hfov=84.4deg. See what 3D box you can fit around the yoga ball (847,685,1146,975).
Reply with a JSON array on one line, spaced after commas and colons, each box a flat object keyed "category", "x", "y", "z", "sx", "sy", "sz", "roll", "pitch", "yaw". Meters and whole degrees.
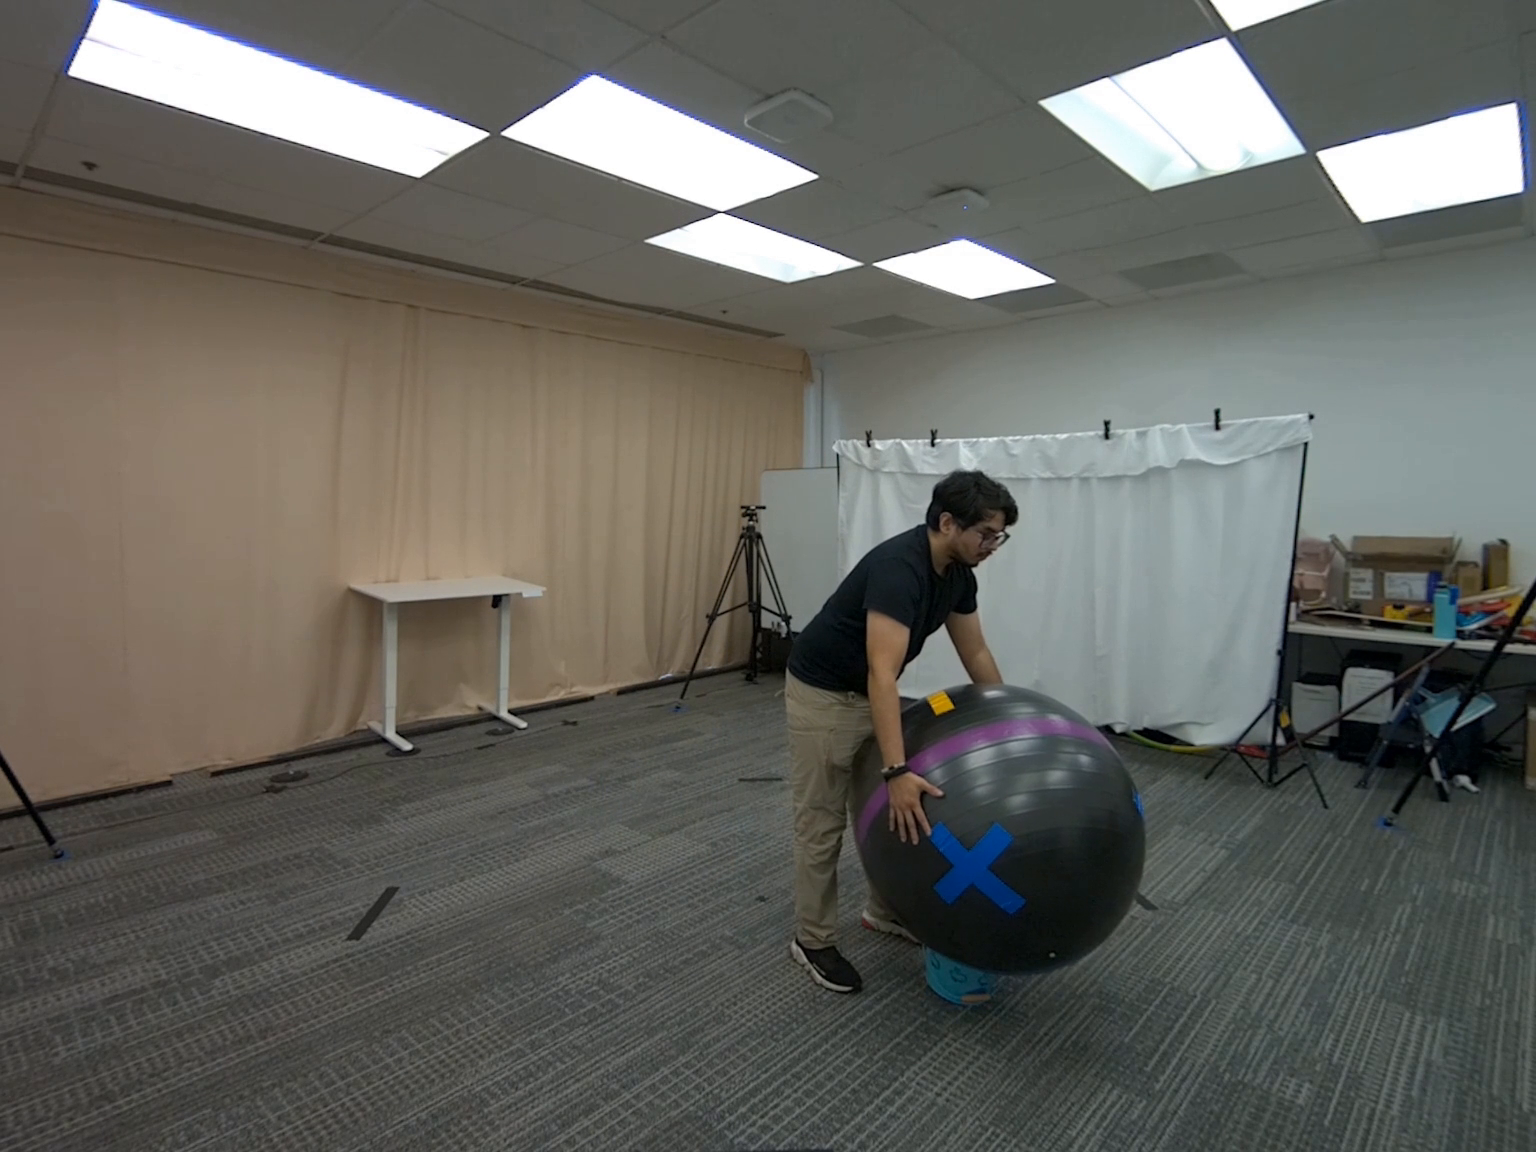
[{"category": "yoga ball", "x": 0.633, "y": 0.687, "z": 2.325, "sx": 0.757, "sy": 0.756, "sz": 0.760, "roll": 0, "pitch": 4, "yaw": -2}]
